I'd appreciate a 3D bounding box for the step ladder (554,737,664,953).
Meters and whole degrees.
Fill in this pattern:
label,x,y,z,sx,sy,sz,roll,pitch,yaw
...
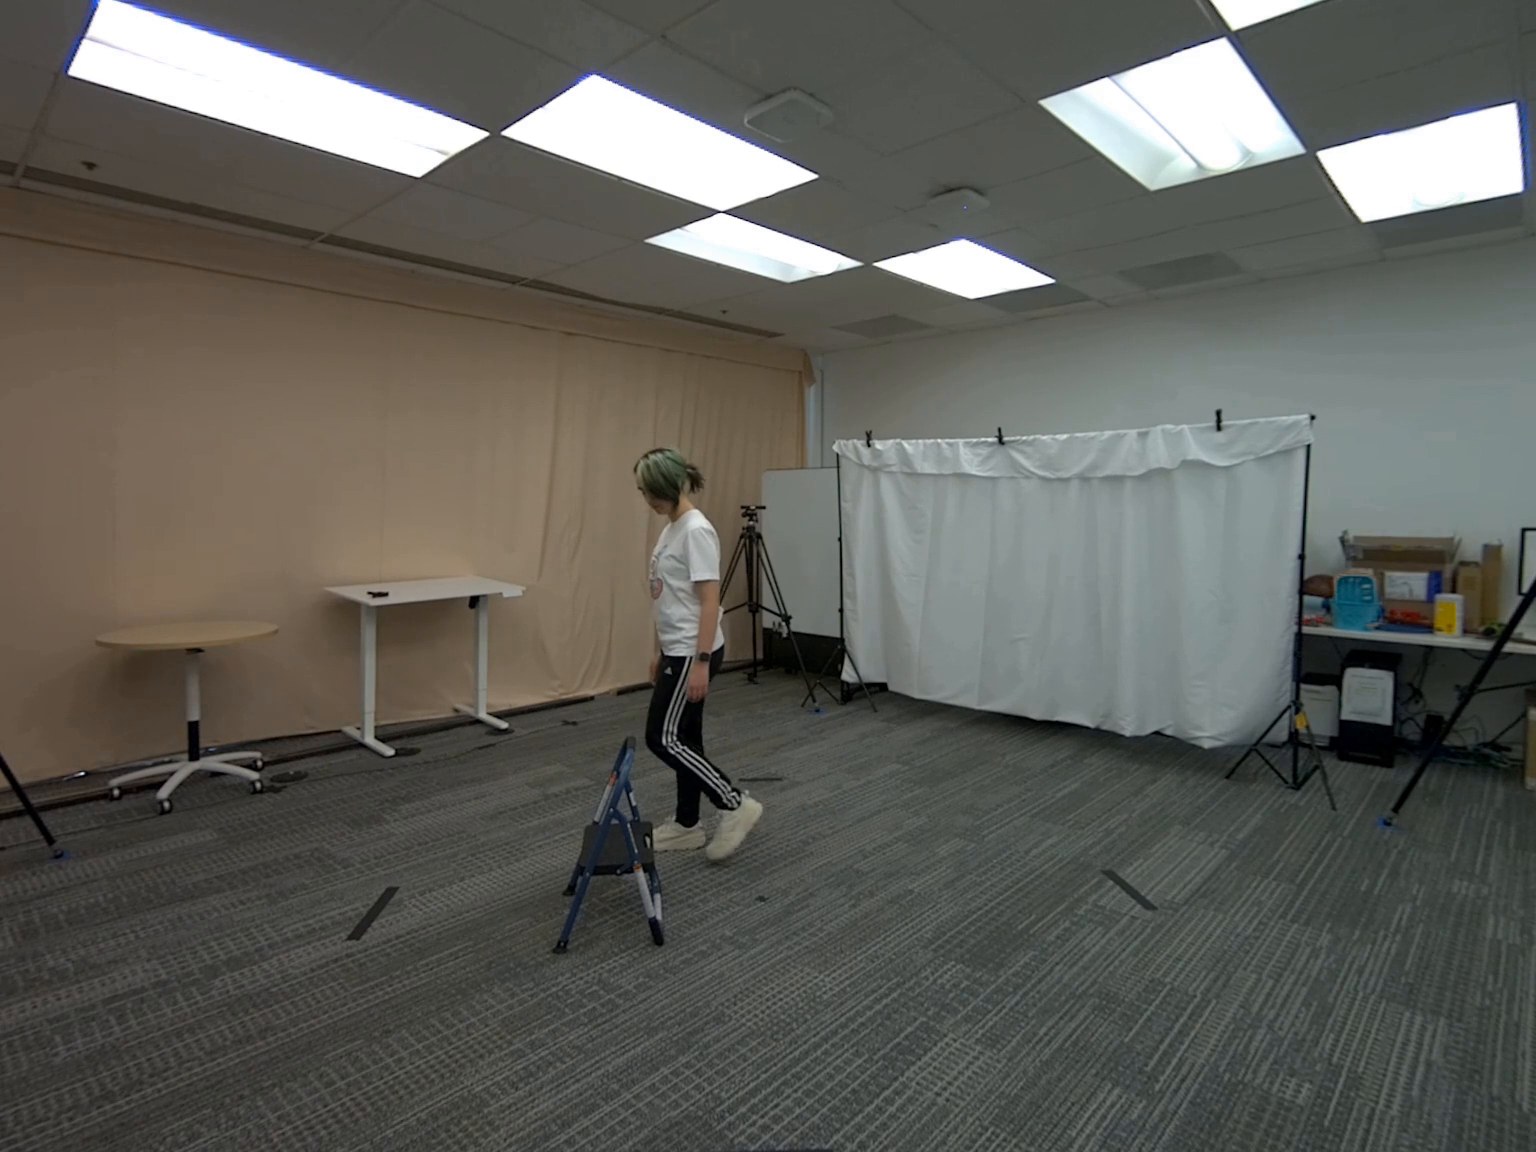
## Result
label,x,y,z,sx,sy,sz,roll,pitch,yaw
step ladder,-0.542,0.861,2.836,0.347,0.605,0.435,-1,3,-8
